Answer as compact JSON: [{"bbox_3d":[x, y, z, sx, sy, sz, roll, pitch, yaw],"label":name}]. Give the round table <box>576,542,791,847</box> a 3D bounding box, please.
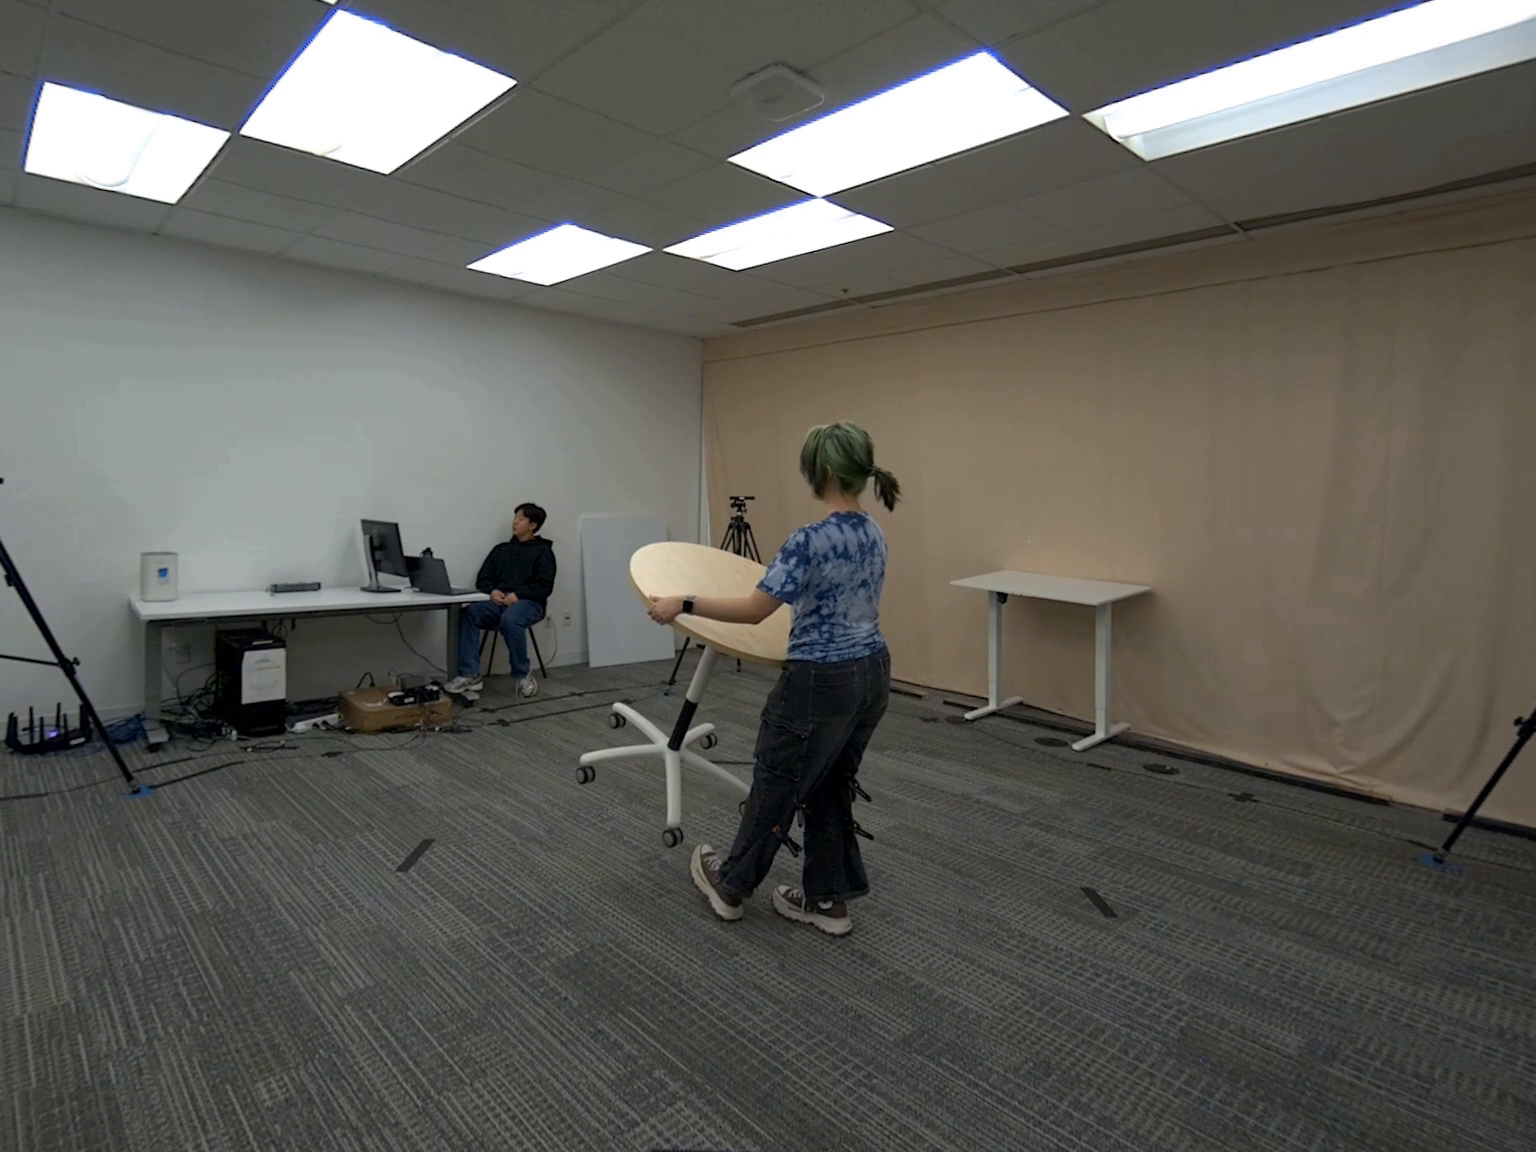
[{"bbox_3d":[-0.268,0.419,3.056,0.758,0.788,0.776,19,20,-9],"label":"round table"}]
